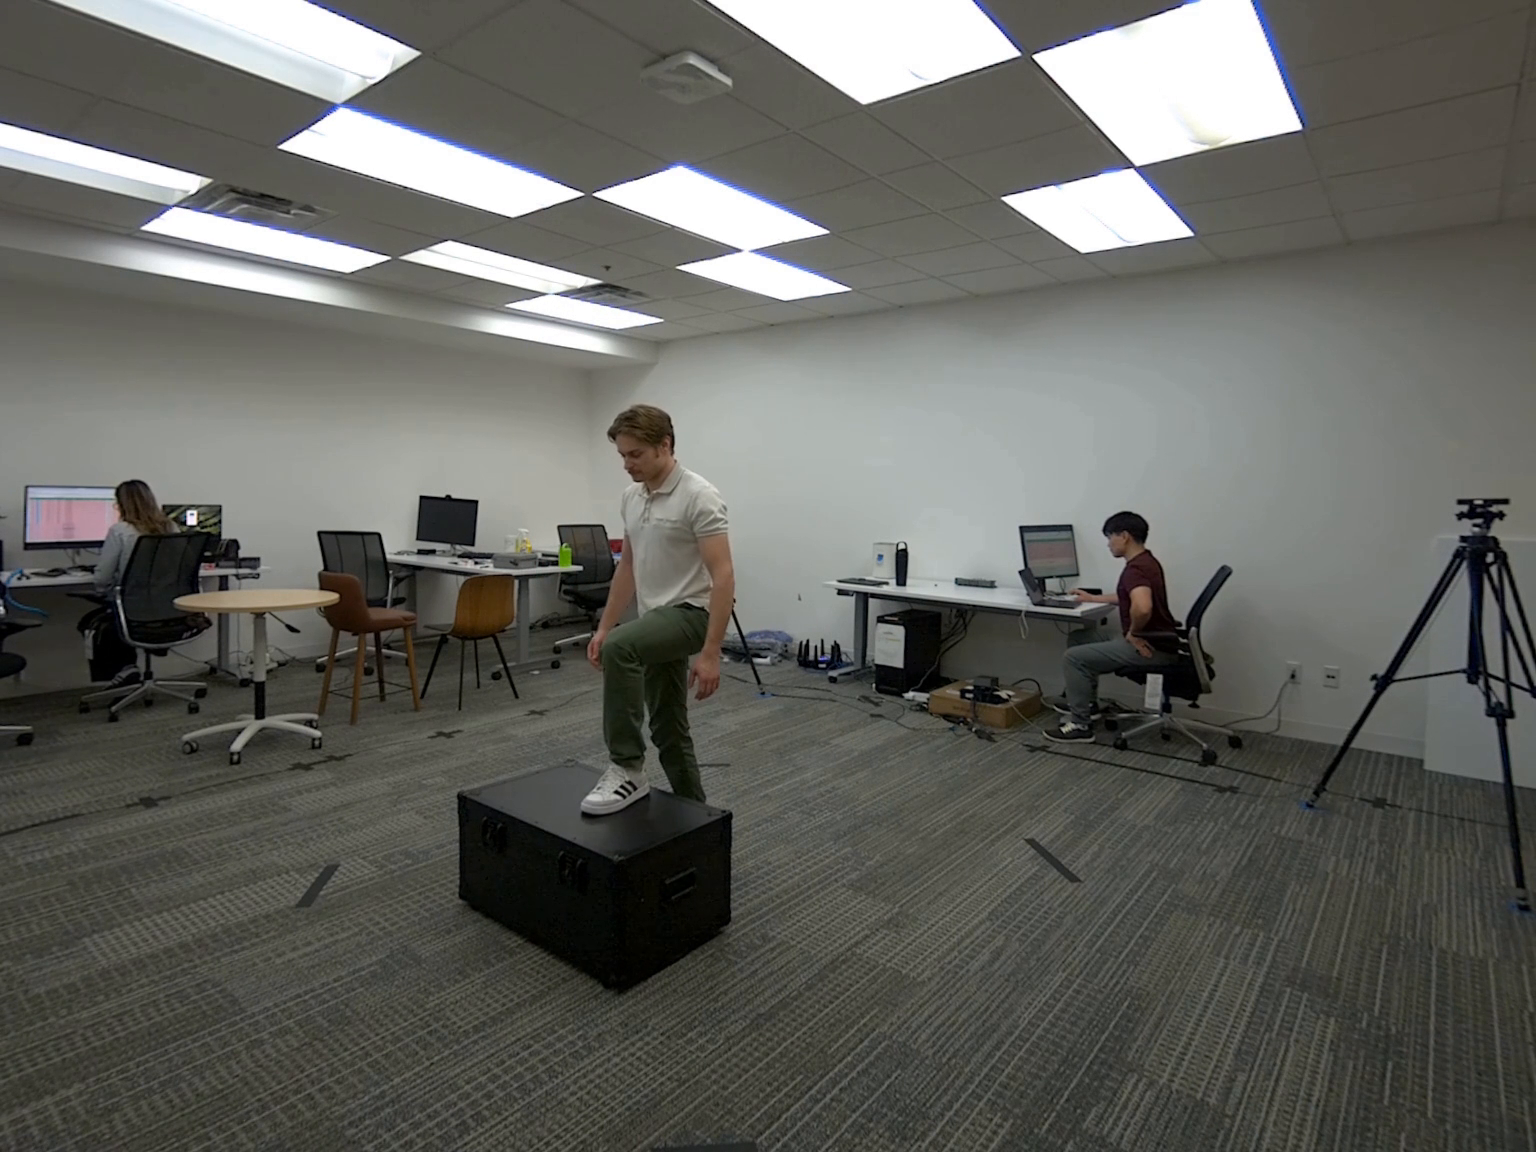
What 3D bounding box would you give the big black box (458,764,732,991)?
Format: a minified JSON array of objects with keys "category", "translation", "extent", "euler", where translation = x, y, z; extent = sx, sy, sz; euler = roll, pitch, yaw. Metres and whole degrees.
[{"category":"big black box","translation":[-0.602,0.906,2.763],"extent":[0.897,0.383,0.508],"euler":[4,7,39]}]
